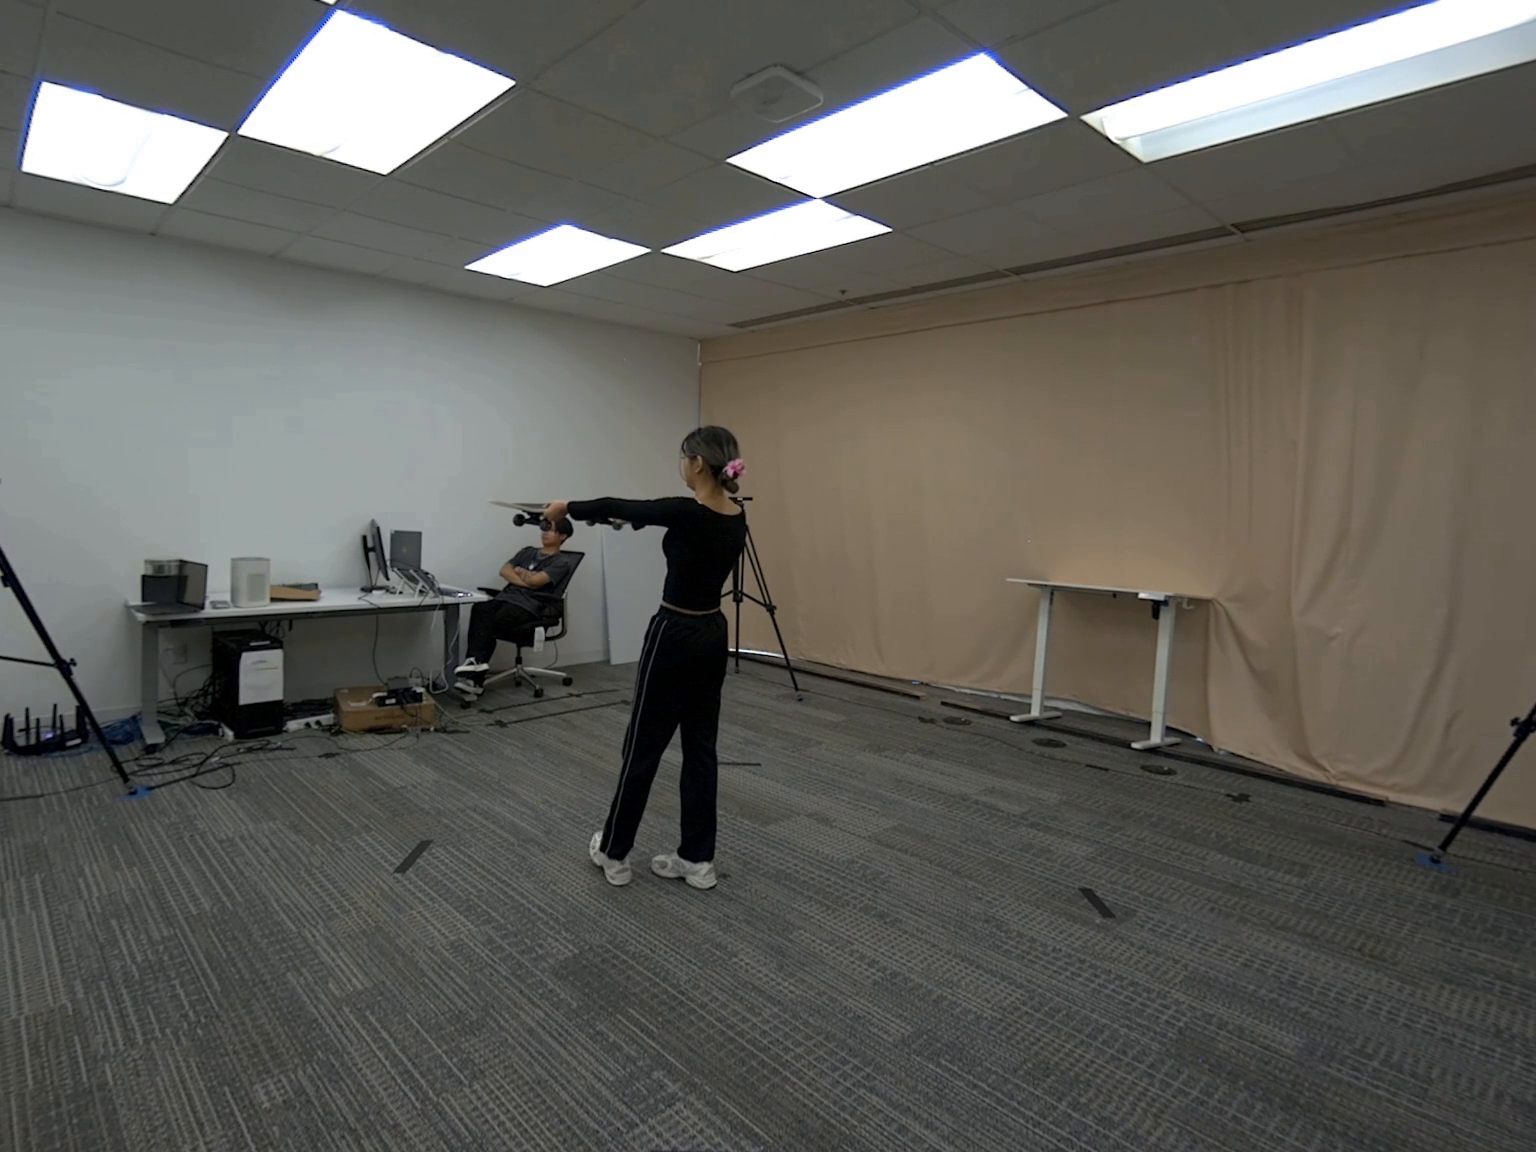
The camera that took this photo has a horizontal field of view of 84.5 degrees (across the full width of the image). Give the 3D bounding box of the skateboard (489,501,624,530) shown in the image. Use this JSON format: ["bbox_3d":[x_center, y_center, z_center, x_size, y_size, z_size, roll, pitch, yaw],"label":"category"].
[{"bbox_3d":[-0.797,-0.249,3.399,0.198,0.110,0.768,12,9,34],"label":"skateboard"}]
